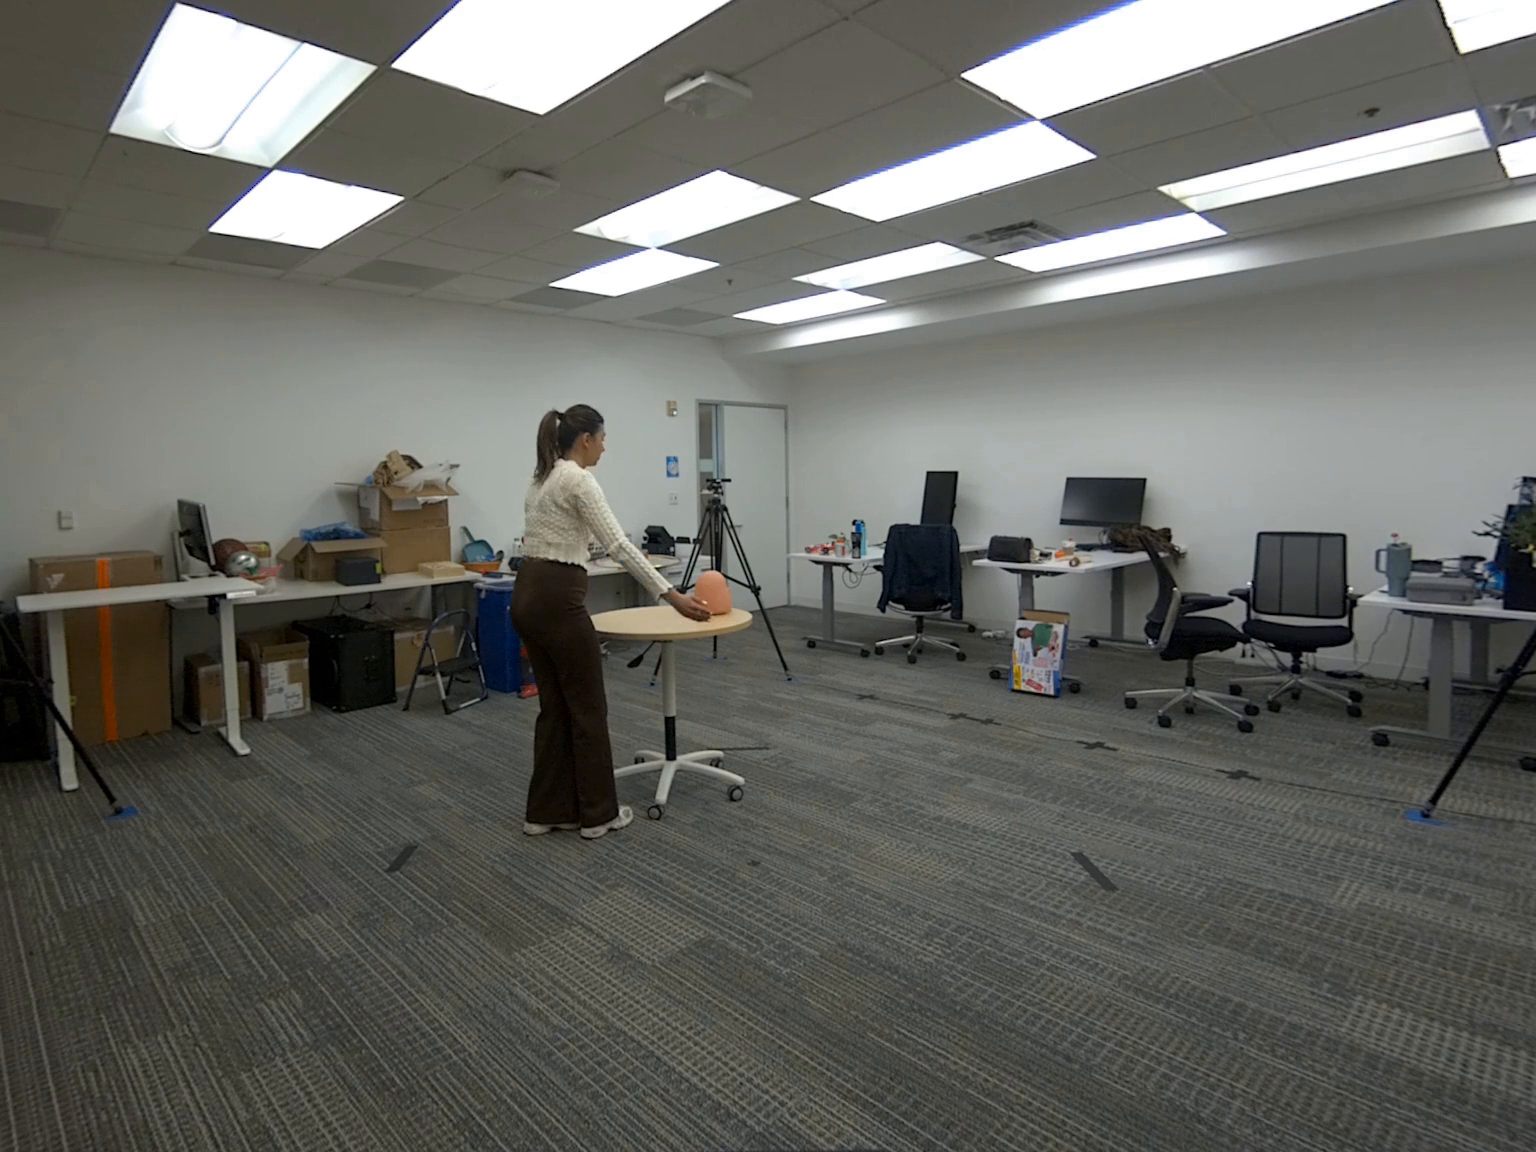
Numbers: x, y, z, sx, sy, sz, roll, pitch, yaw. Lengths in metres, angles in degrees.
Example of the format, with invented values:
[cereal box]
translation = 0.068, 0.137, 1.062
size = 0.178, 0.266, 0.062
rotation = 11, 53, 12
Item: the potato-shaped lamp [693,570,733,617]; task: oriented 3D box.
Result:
[potato-shaped lamp]
translation = -0.253, 0.076, 3.905
size = 0.170, 0.197, 0.167
rotation = 4, 6, 38
